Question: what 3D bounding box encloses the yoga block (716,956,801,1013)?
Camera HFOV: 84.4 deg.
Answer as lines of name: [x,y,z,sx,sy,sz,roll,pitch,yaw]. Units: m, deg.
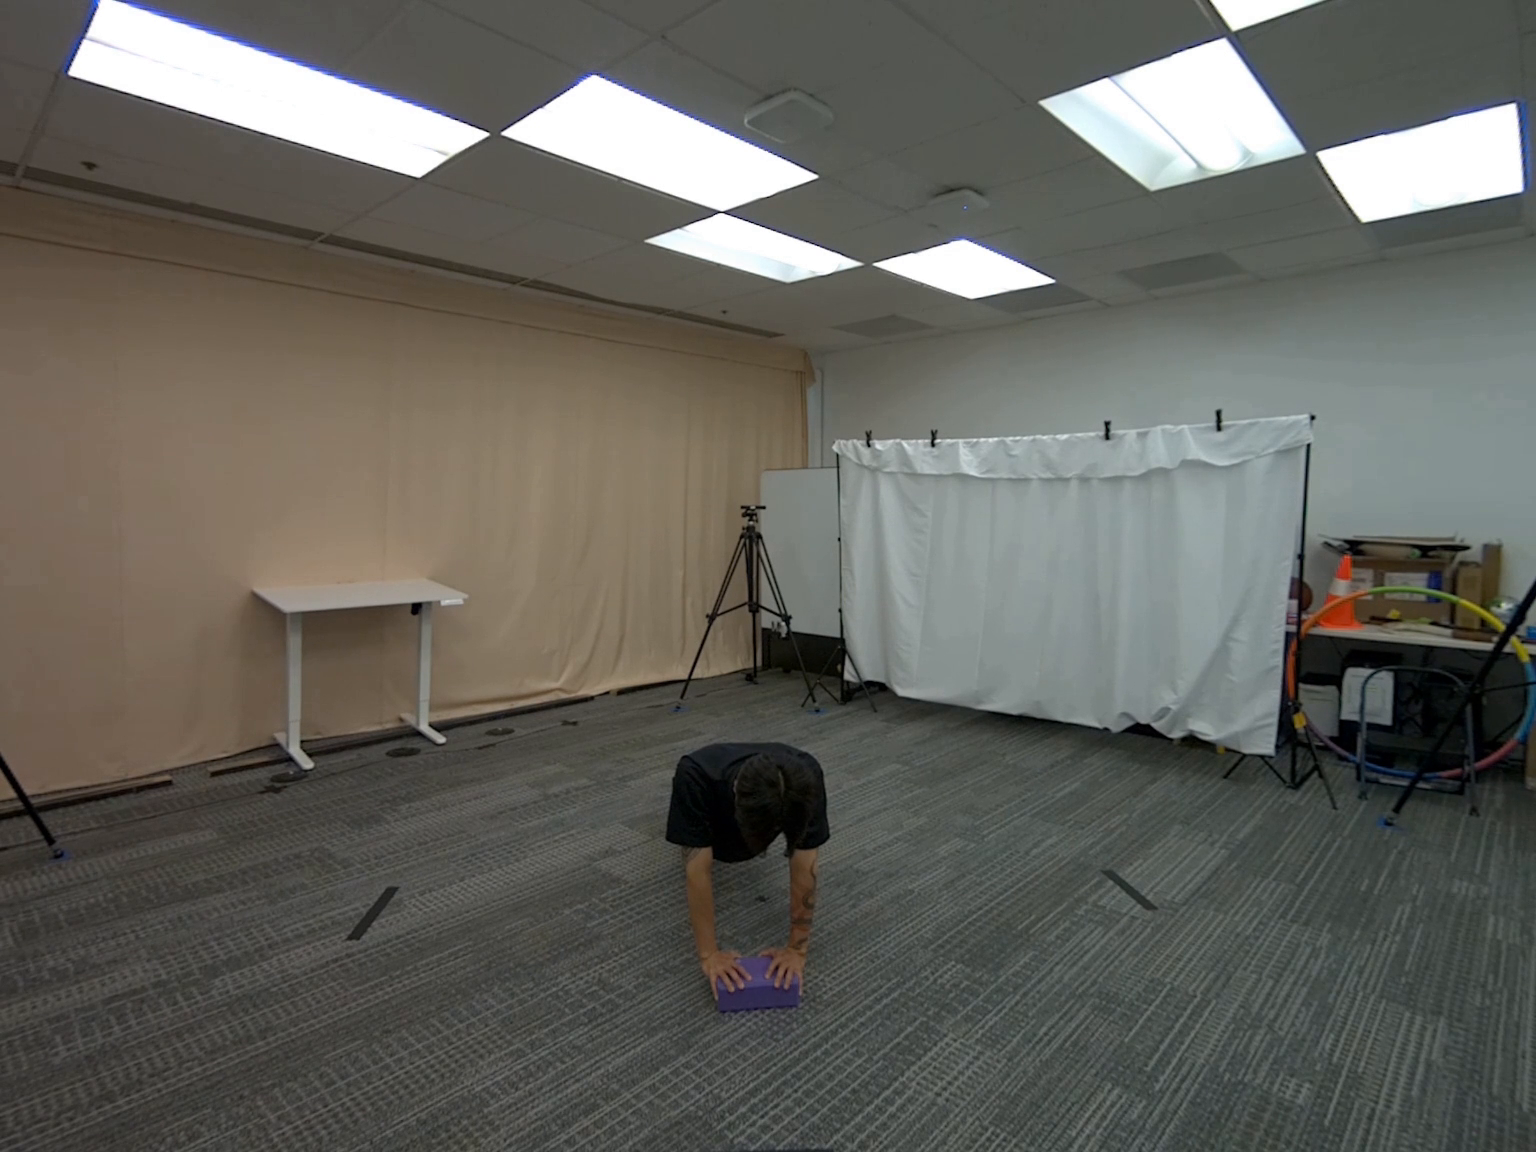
yoga block: [-0.039,1.150,2.394,0.227,0.076,0.150,0,5,-8]
